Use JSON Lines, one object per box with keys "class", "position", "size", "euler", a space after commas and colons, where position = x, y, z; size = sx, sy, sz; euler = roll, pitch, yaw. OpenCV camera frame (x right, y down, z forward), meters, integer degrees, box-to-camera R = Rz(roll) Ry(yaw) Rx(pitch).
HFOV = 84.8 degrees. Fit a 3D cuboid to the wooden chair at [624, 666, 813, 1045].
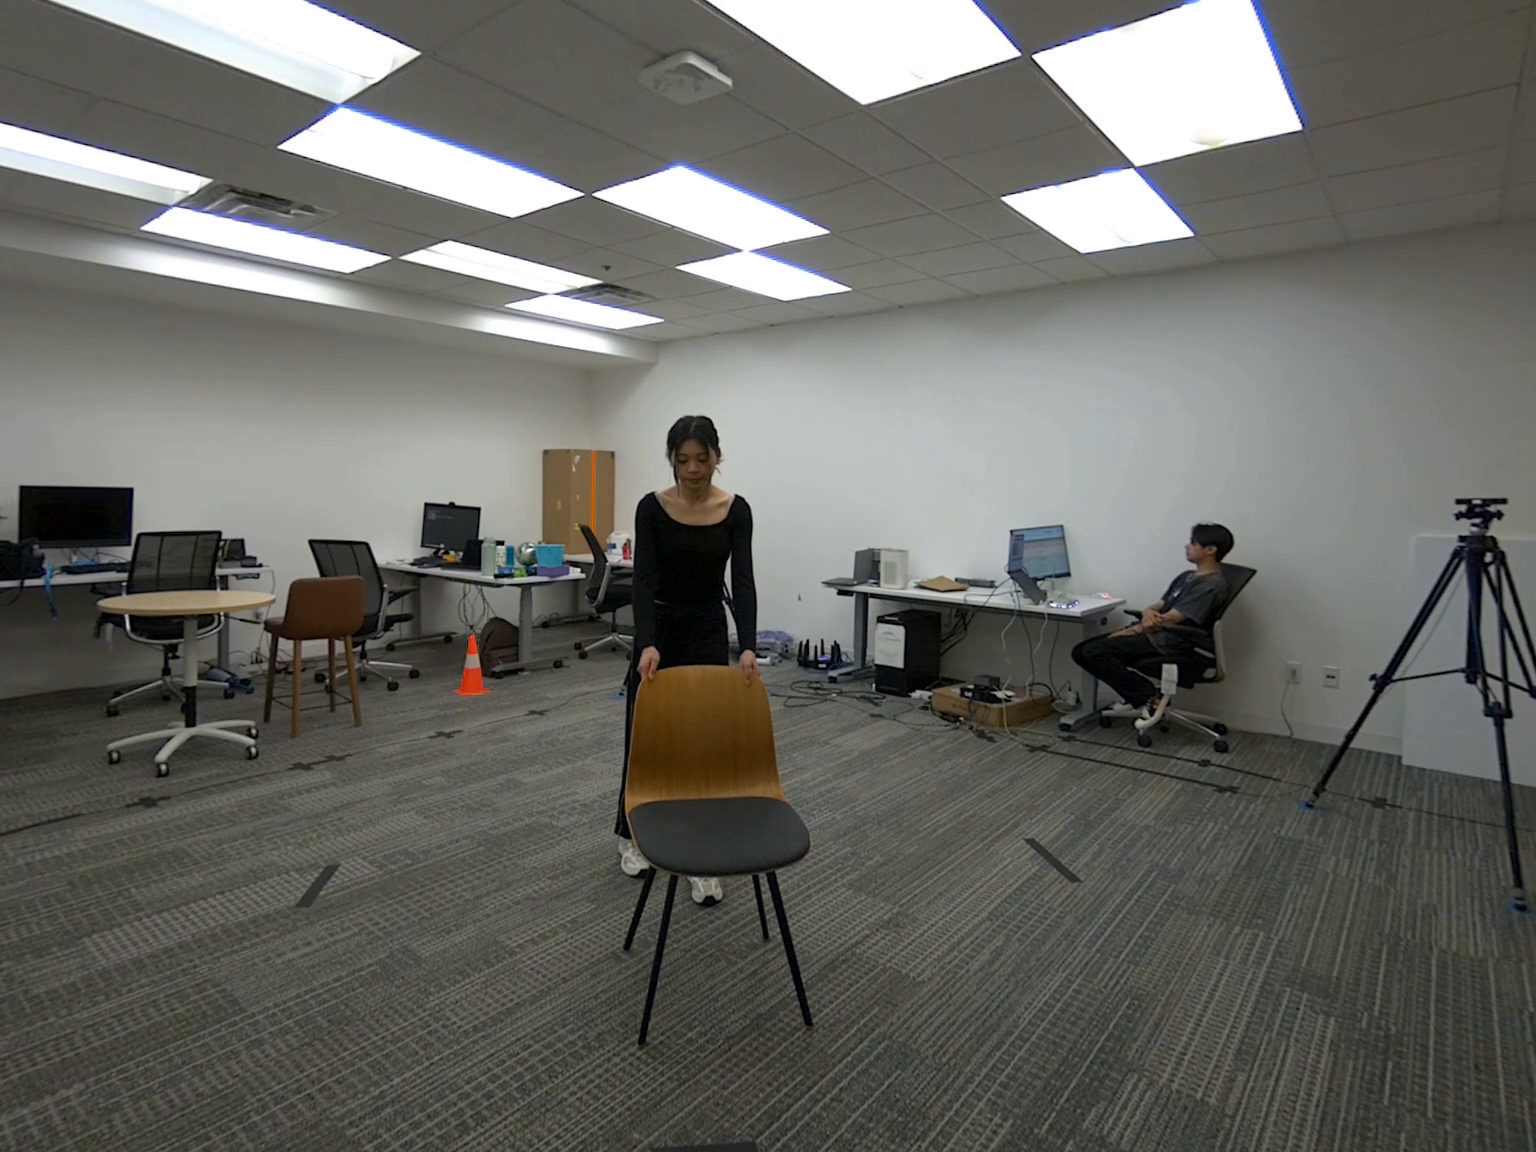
{"class": "wooden chair", "position": [-0.151, 0.716, 2.346], "size": [0.472, 0.879, 0.529], "euler": [1, -1, -13]}
